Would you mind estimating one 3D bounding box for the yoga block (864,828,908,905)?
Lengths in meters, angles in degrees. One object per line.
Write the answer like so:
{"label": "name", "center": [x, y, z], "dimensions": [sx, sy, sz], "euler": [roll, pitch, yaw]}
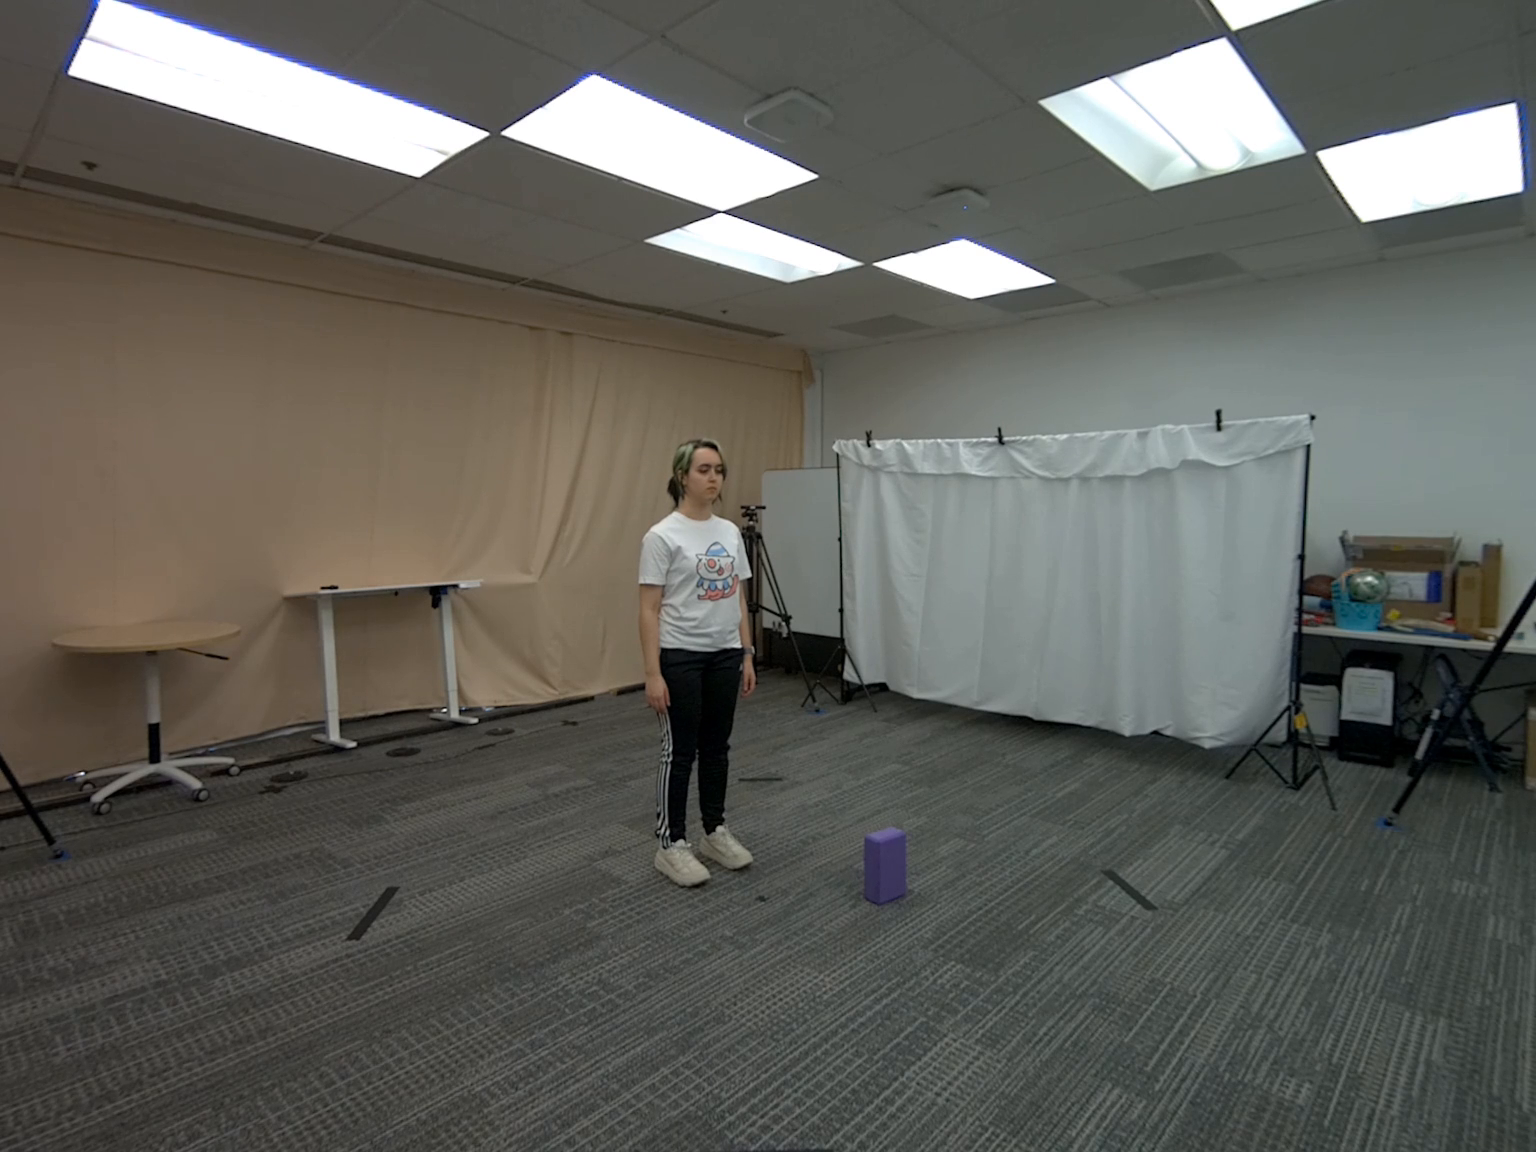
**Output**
{"label": "yoga block", "center": [0.421, 1.023, 2.987], "dimensions": [0.144, 0.229, 0.079], "euler": [-2, 3, -38]}
